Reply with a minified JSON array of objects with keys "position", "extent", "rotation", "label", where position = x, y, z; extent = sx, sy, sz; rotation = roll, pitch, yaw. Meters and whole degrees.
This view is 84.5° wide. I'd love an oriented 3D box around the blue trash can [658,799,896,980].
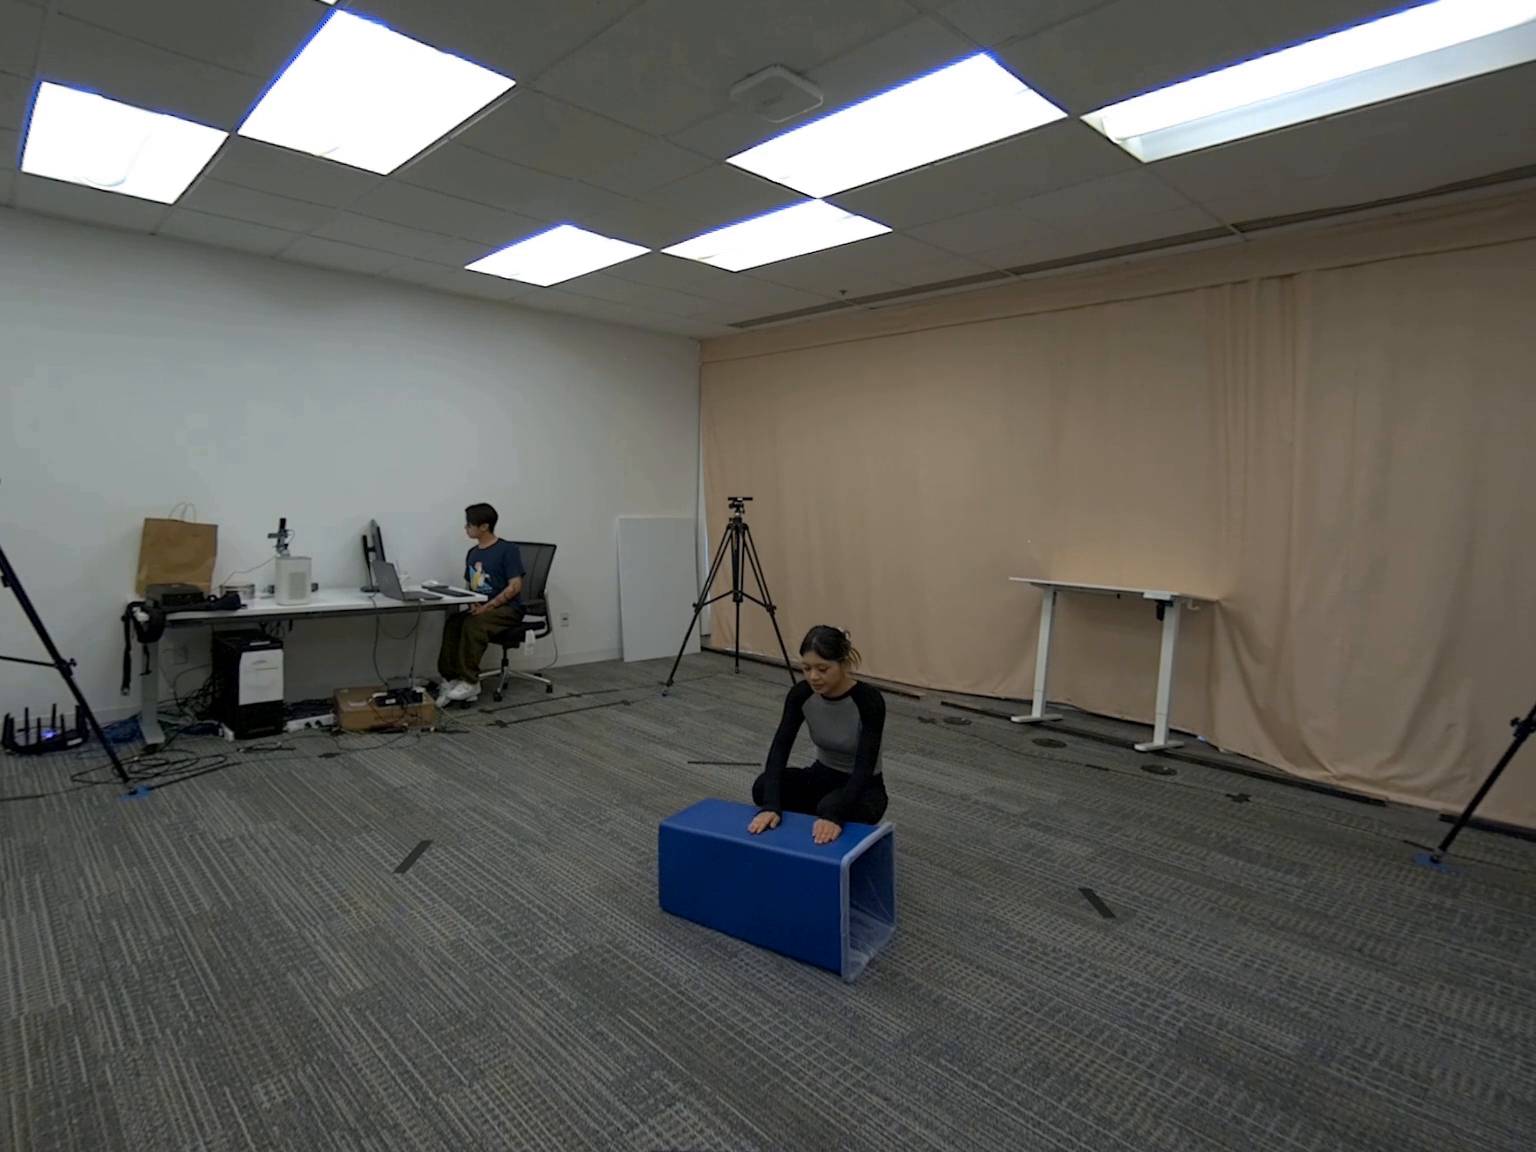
[{"position":[0.007,0.976,2.757],"extent":[0.729,0.377,0.367],"rotation":[2,5,32],"label":"blue trash can"}]
